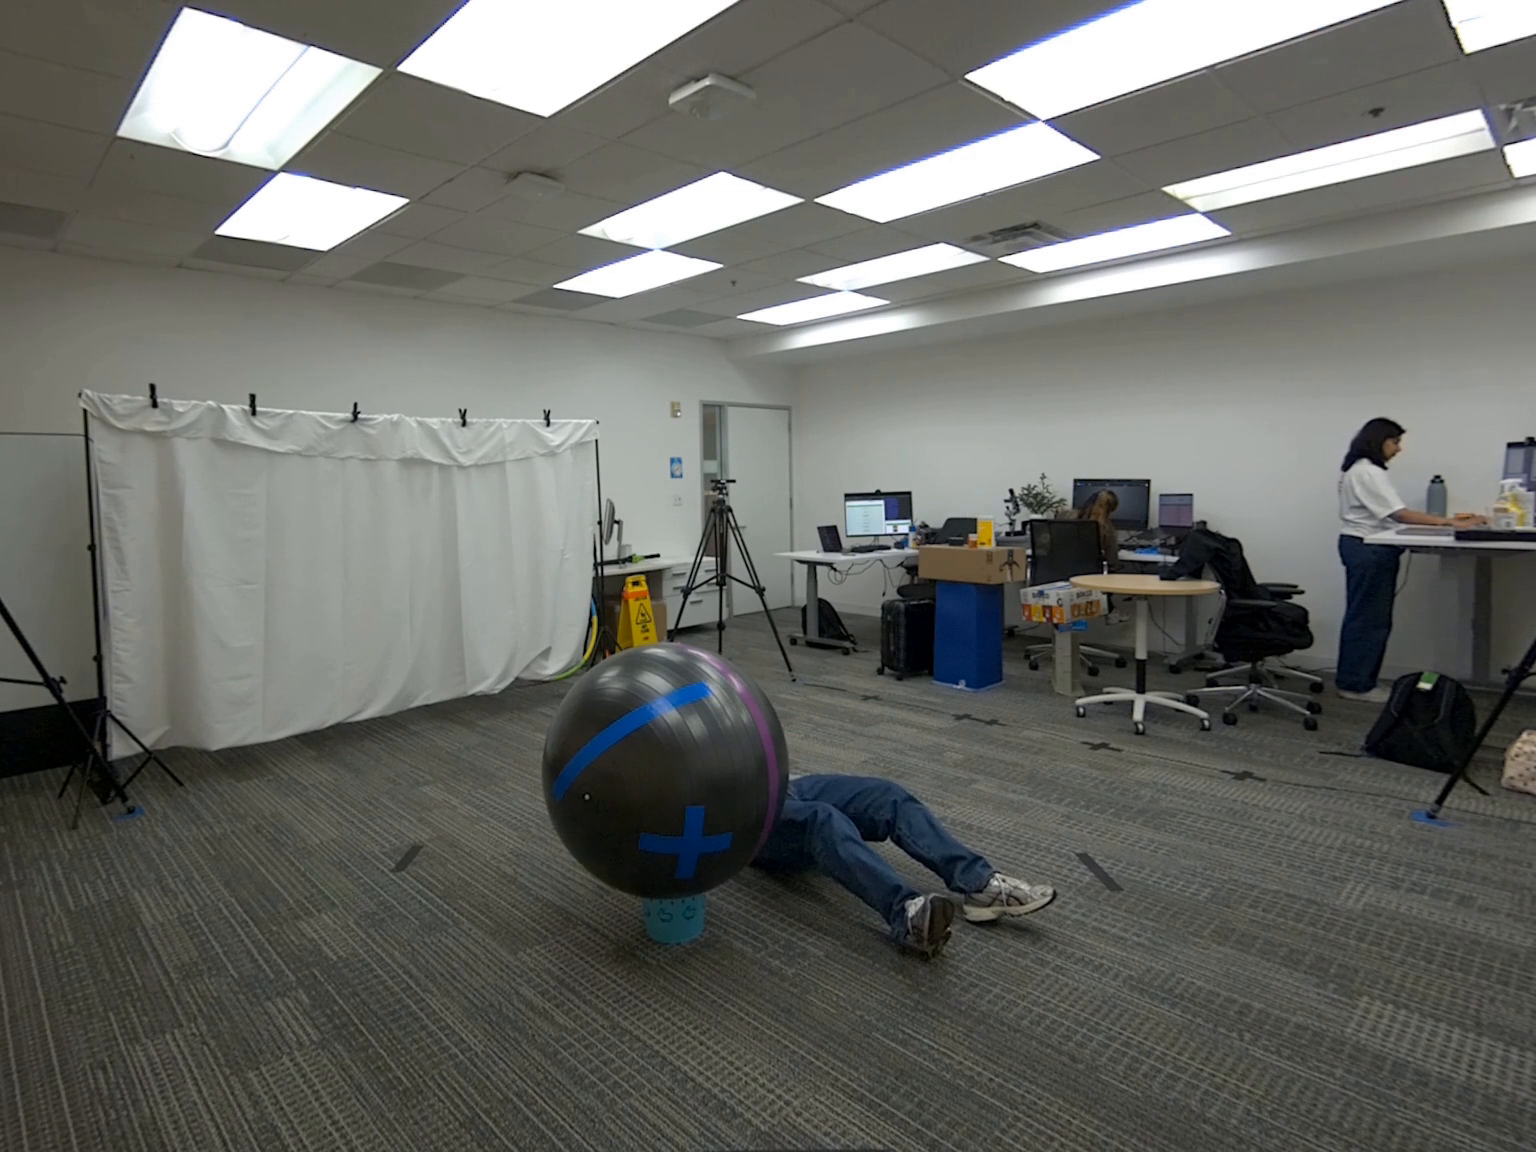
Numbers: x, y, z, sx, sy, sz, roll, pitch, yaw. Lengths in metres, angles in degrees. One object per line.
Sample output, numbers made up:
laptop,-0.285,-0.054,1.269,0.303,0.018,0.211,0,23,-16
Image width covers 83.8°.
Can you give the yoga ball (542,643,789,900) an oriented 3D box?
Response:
yoga ball,-0.316,0.594,2.643,0.757,0.755,0.762,-1,5,-2
